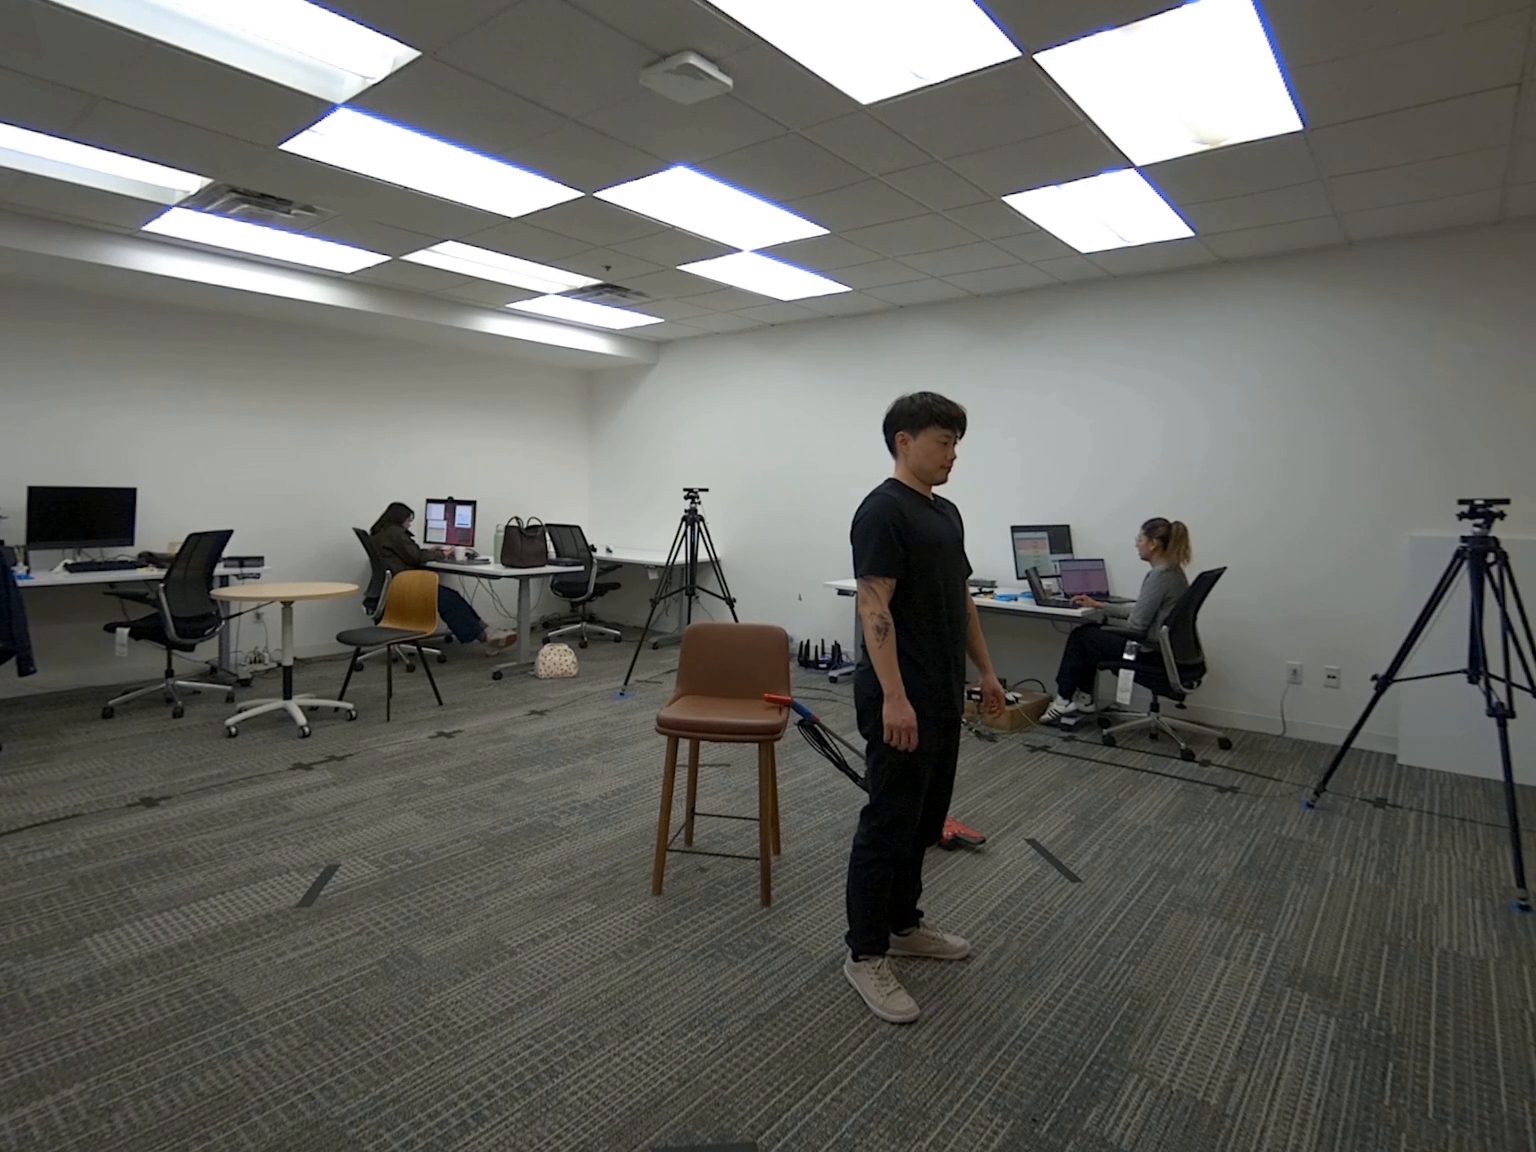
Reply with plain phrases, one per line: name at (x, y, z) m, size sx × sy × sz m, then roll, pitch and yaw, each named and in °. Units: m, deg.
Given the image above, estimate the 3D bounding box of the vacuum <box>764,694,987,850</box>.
vacuum at (0.362, 0.739, 3.219) m, size 1.020 × 0.144 × 0.259 m, roll 39°, pitch -13°, yaw -21°
